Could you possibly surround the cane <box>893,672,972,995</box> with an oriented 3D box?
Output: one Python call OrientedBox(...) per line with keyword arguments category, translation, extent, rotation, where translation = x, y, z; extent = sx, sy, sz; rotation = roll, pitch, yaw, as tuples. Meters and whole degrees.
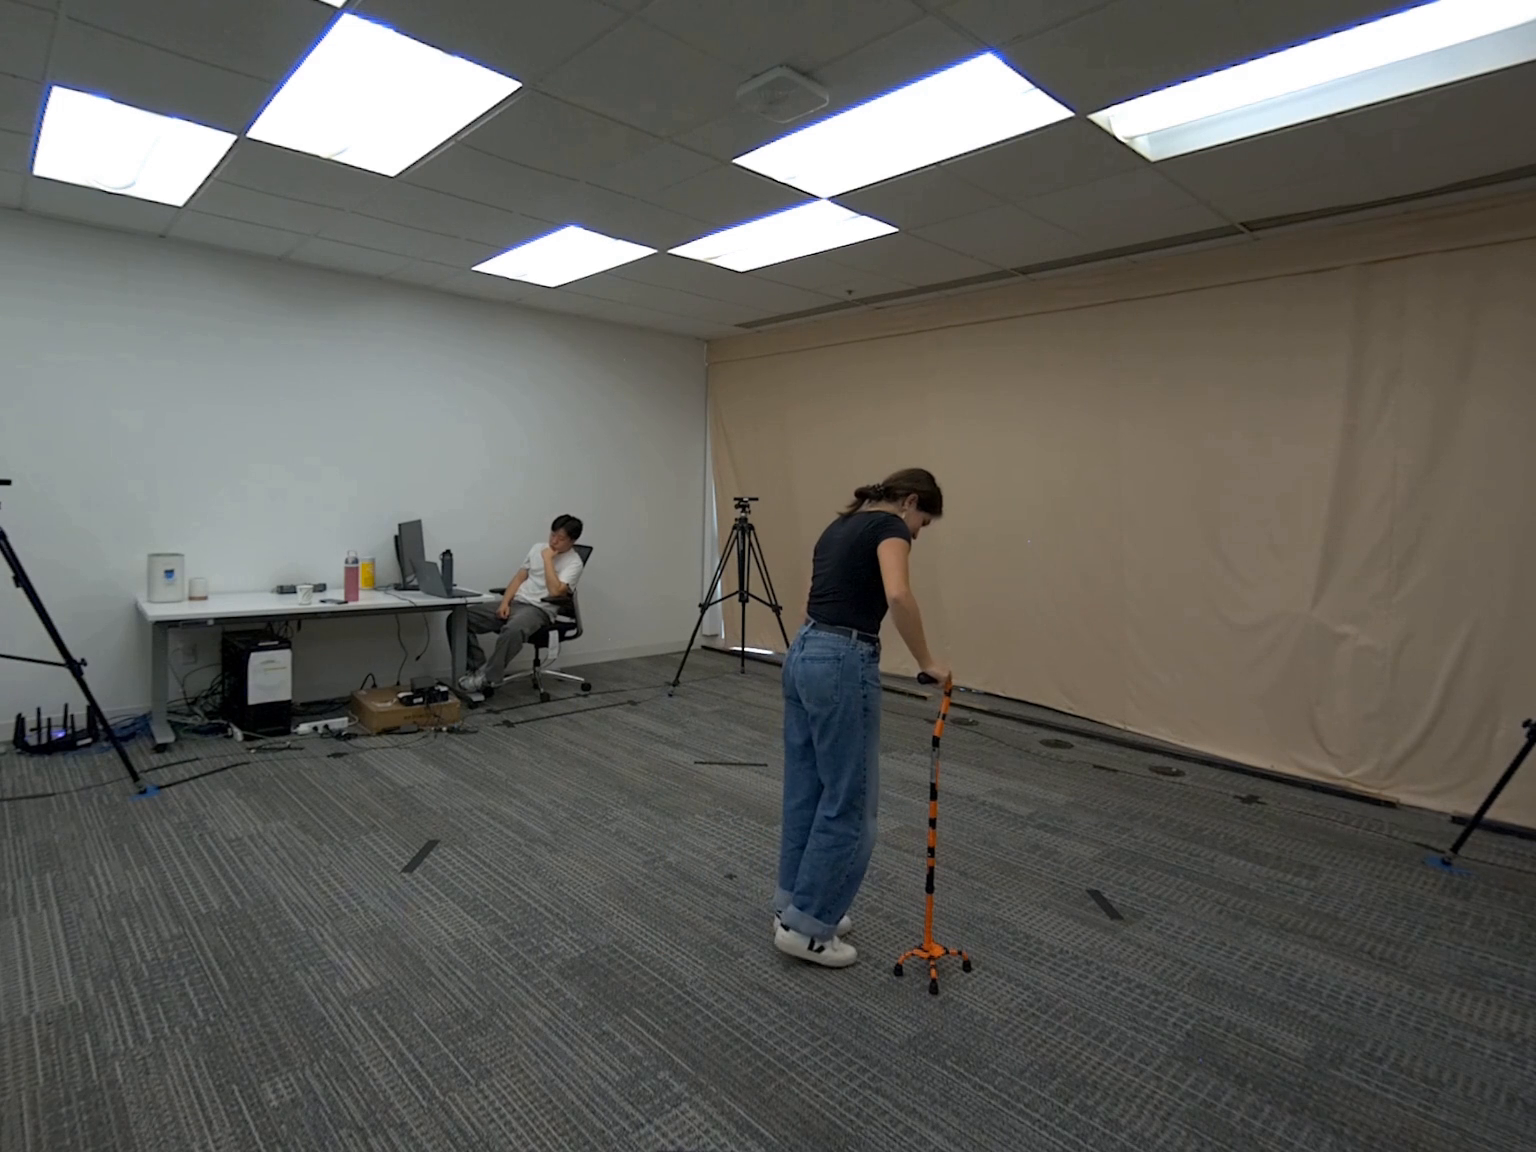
OrientedBox(category="cane", translation=(0.494, 0.732, 2.473), extent=(0.202, 0.906, 0.155), rotation=(-1, 4, -44))
